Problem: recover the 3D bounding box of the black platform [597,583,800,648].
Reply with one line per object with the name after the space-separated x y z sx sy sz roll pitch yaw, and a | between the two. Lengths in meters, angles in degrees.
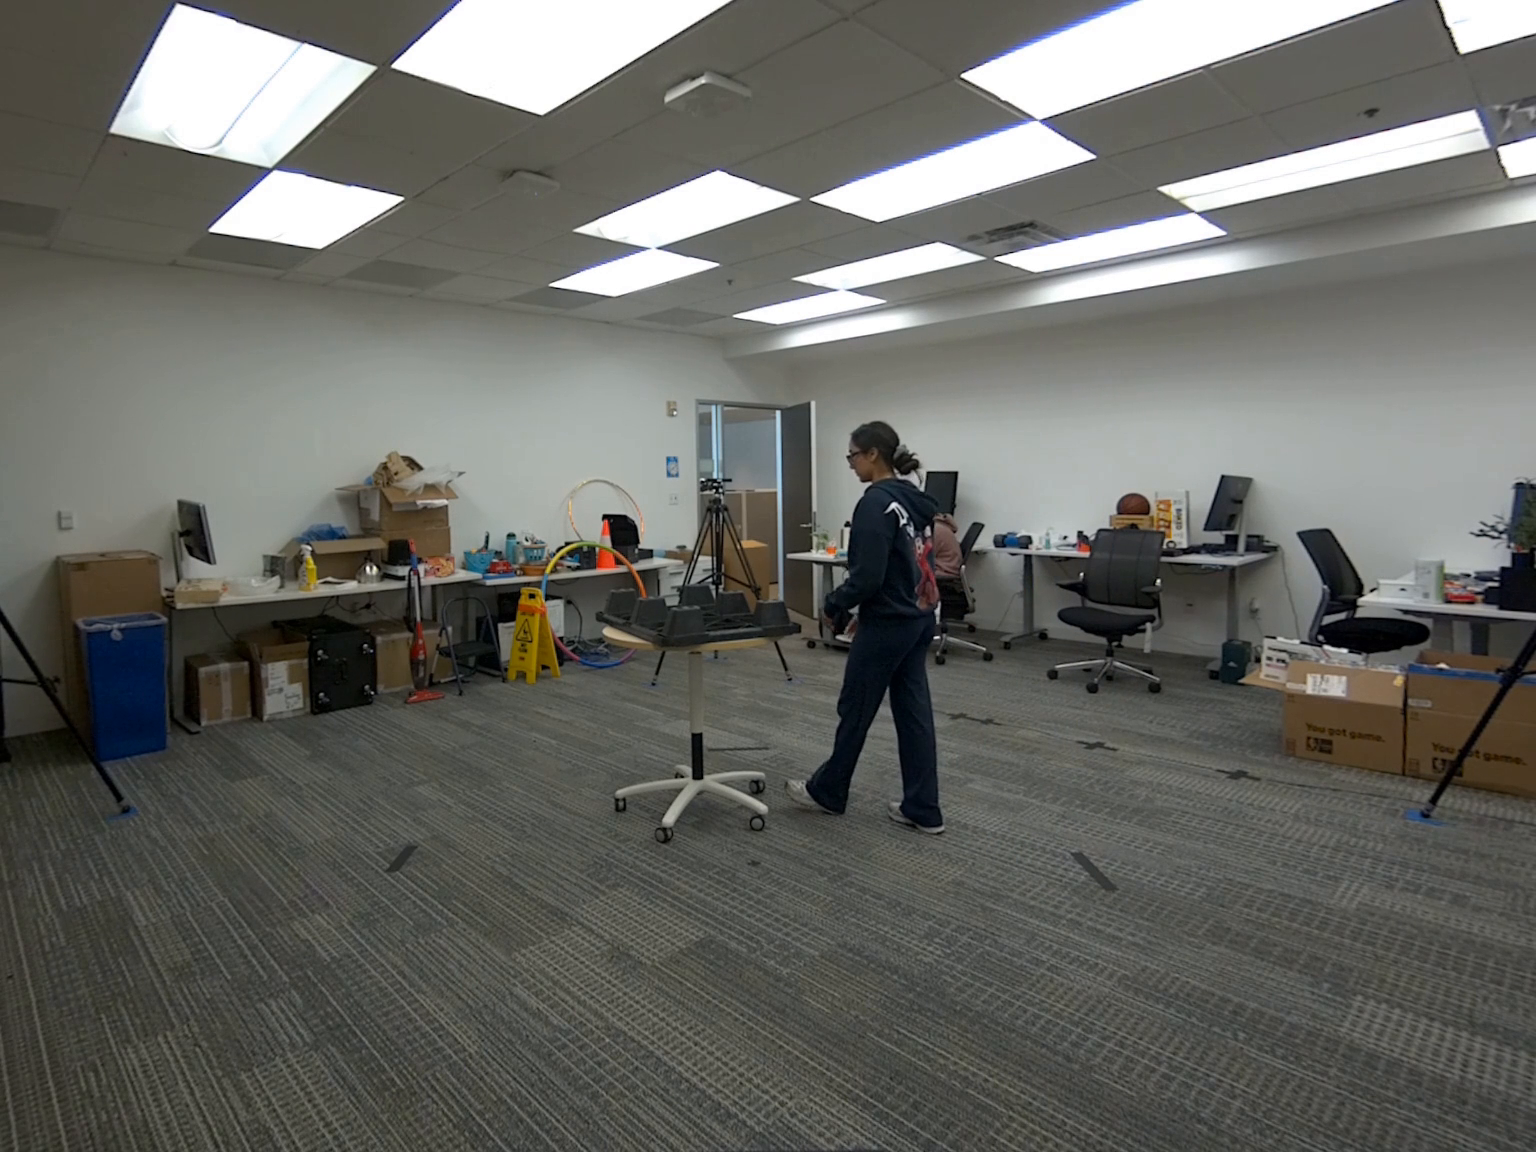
-0.323 0.148 3.592 0.591 0.143 0.827 -4 6 -28 | black platform
